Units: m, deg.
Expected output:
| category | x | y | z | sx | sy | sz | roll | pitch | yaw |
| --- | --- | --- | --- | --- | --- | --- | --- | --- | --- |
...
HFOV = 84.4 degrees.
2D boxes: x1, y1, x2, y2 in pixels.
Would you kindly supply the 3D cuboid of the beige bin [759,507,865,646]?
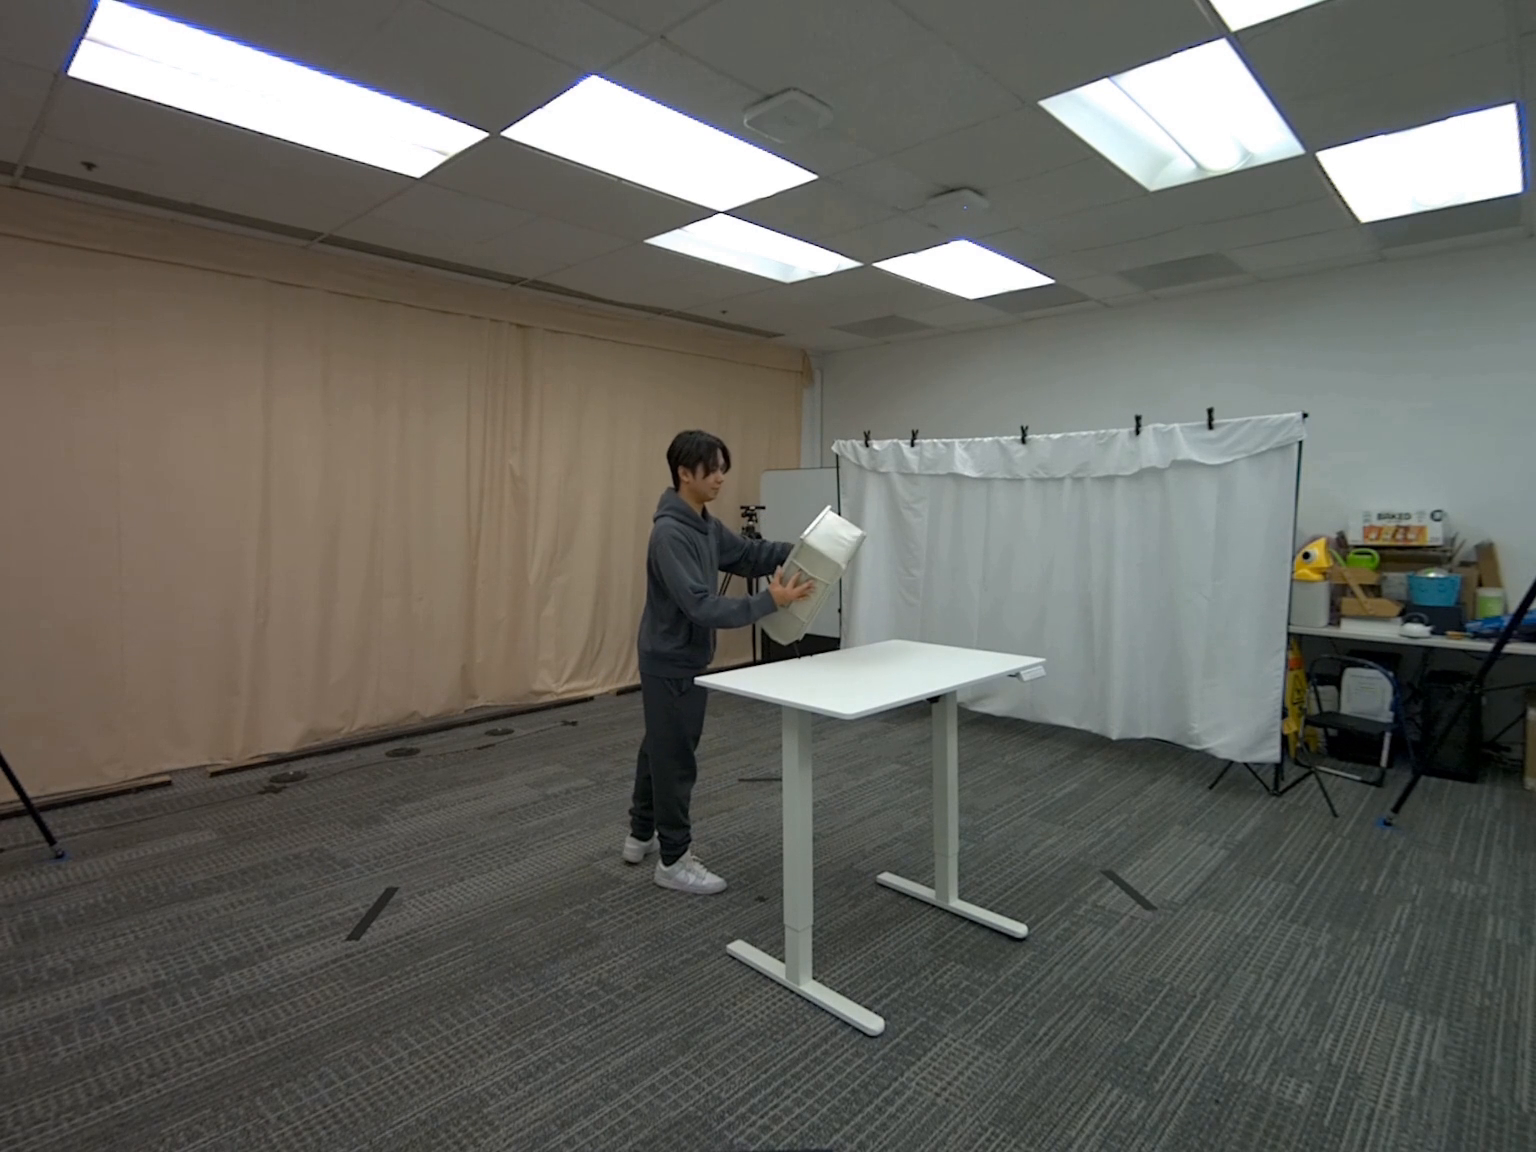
| category | x | y | z | sx | sy | sz | roll | pitch | yaw |
| --- | --- | --- | --- | --- | --- | --- | --- | --- | --- |
| beige bin | 0.161 | 0.003 | 3.002 | 0.190 | 0.377 | 0.419 | 33 | 26 | 4 |
